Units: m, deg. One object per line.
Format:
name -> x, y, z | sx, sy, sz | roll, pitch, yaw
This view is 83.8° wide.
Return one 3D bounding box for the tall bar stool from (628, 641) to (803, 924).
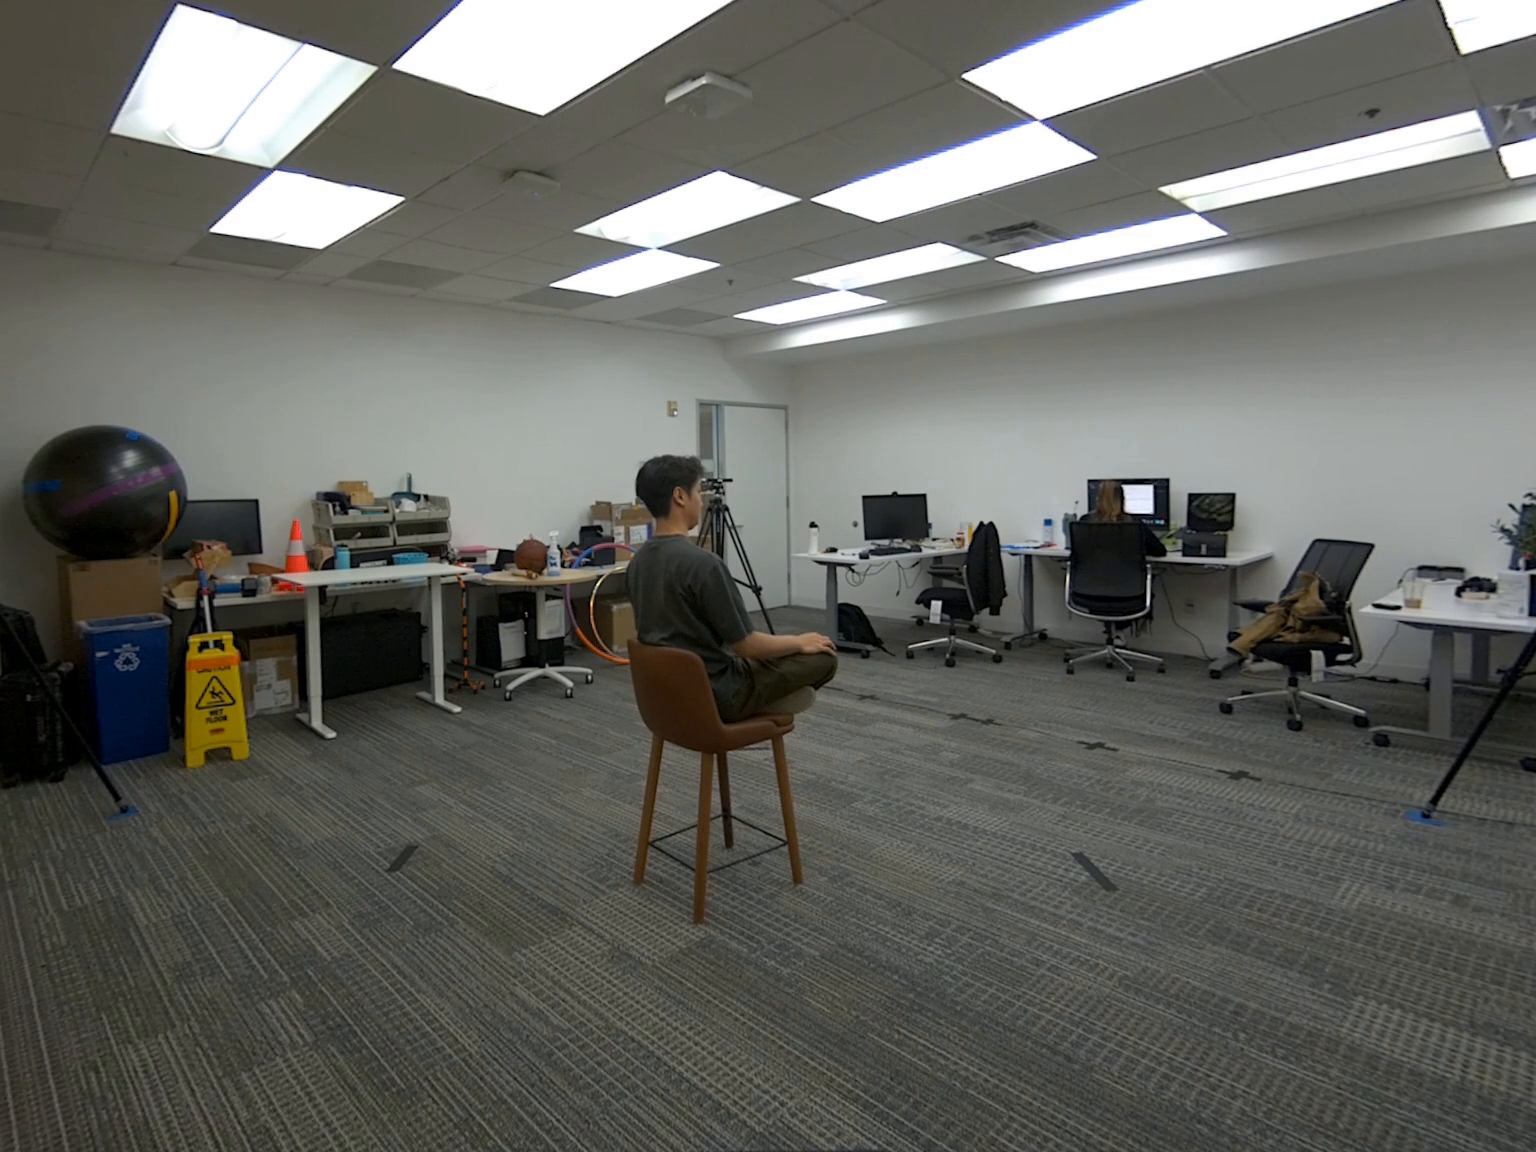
tall bar stool -> -0.193, 0.630, 2.935 | 0.456, 0.885, 0.470 | -8, 8, -40
